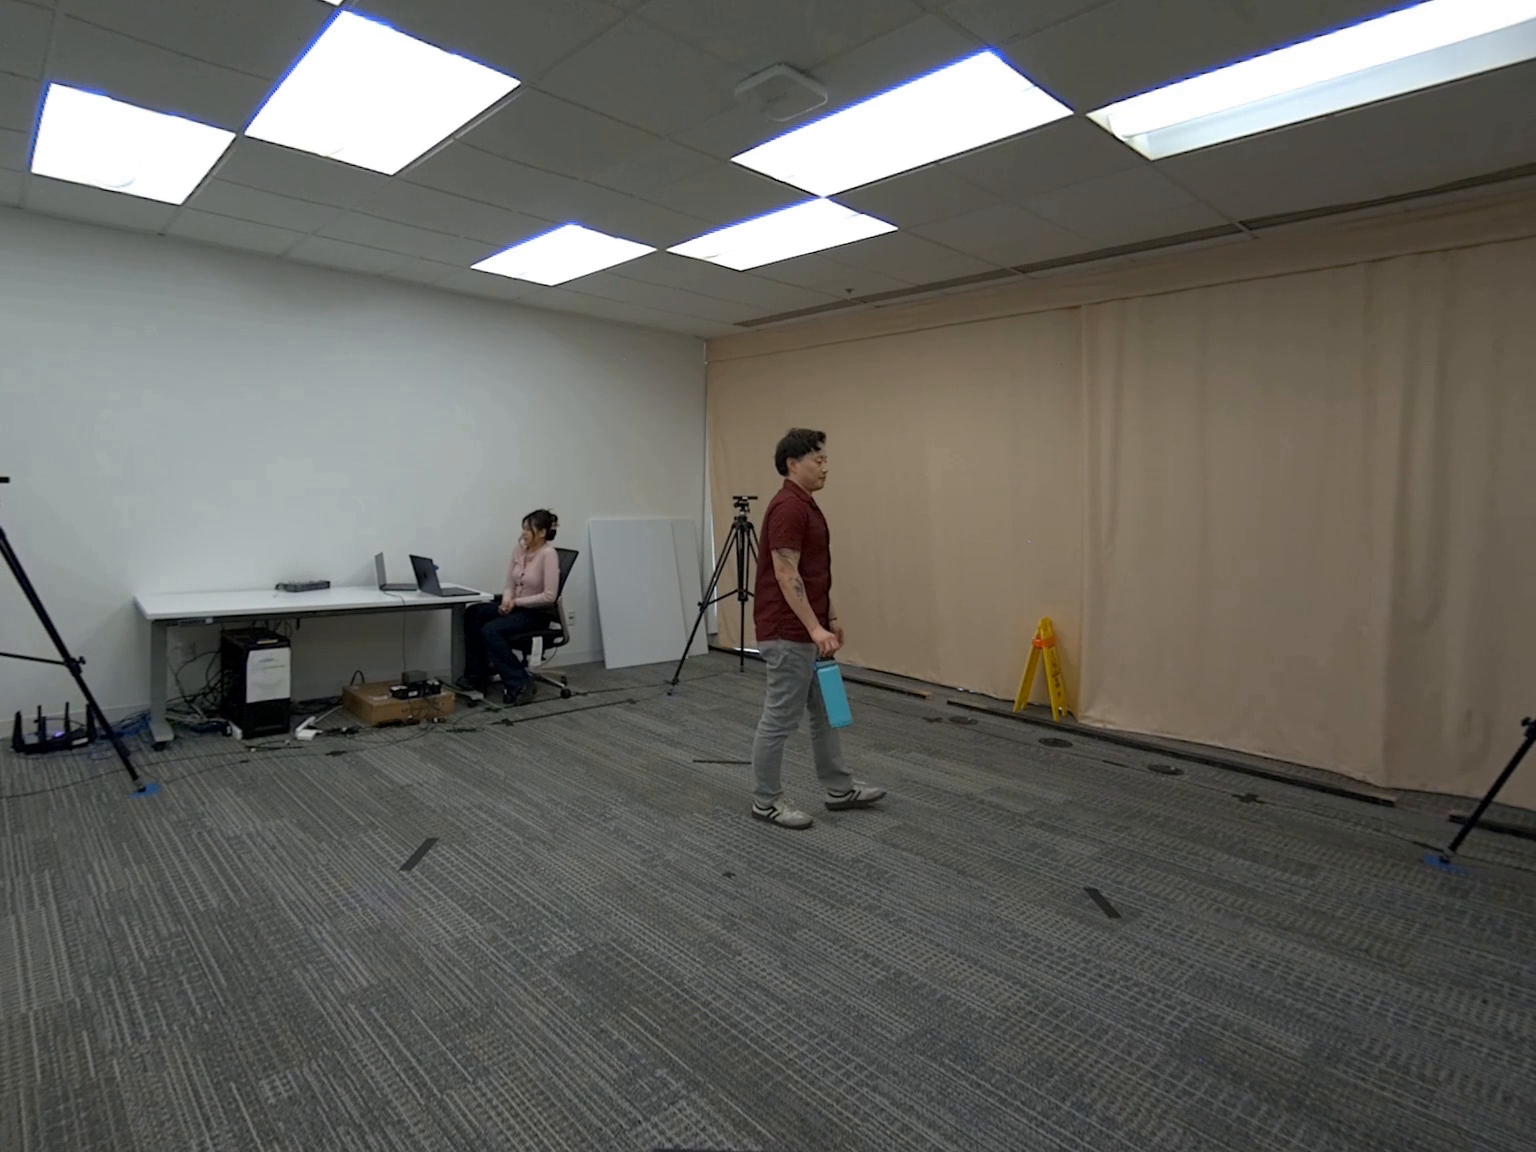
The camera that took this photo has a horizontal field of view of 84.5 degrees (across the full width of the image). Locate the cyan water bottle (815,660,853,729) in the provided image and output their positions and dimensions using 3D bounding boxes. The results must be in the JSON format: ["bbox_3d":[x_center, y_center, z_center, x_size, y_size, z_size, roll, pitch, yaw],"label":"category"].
[{"bbox_3d":[0.237,0.447,3.290,0.092,0.286,0.091,-15,-10,-4],"label":"cyan water bottle"}]
